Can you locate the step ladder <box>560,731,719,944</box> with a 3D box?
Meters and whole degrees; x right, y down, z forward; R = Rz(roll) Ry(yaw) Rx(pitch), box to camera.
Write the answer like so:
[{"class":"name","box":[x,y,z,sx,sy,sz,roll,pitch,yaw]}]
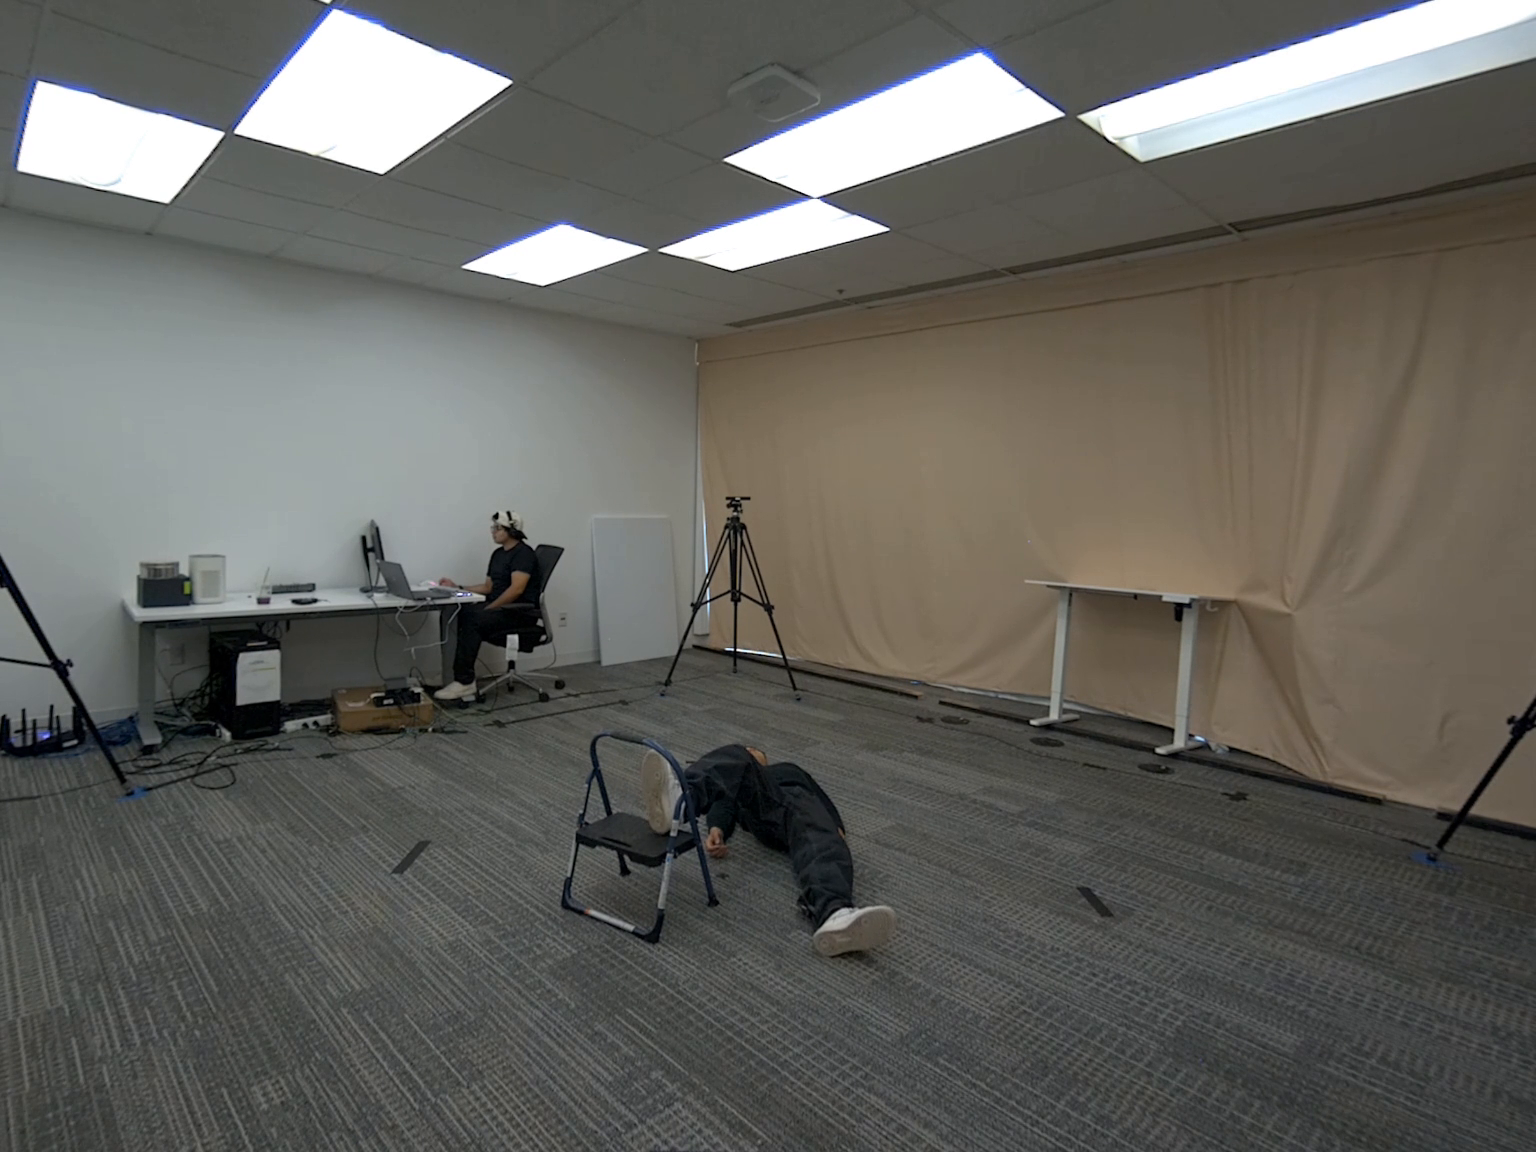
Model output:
[{"class":"step ladder","box":[-0.438,0.822,2.850,0.440,0.605,0.342,3,4,32]}]
